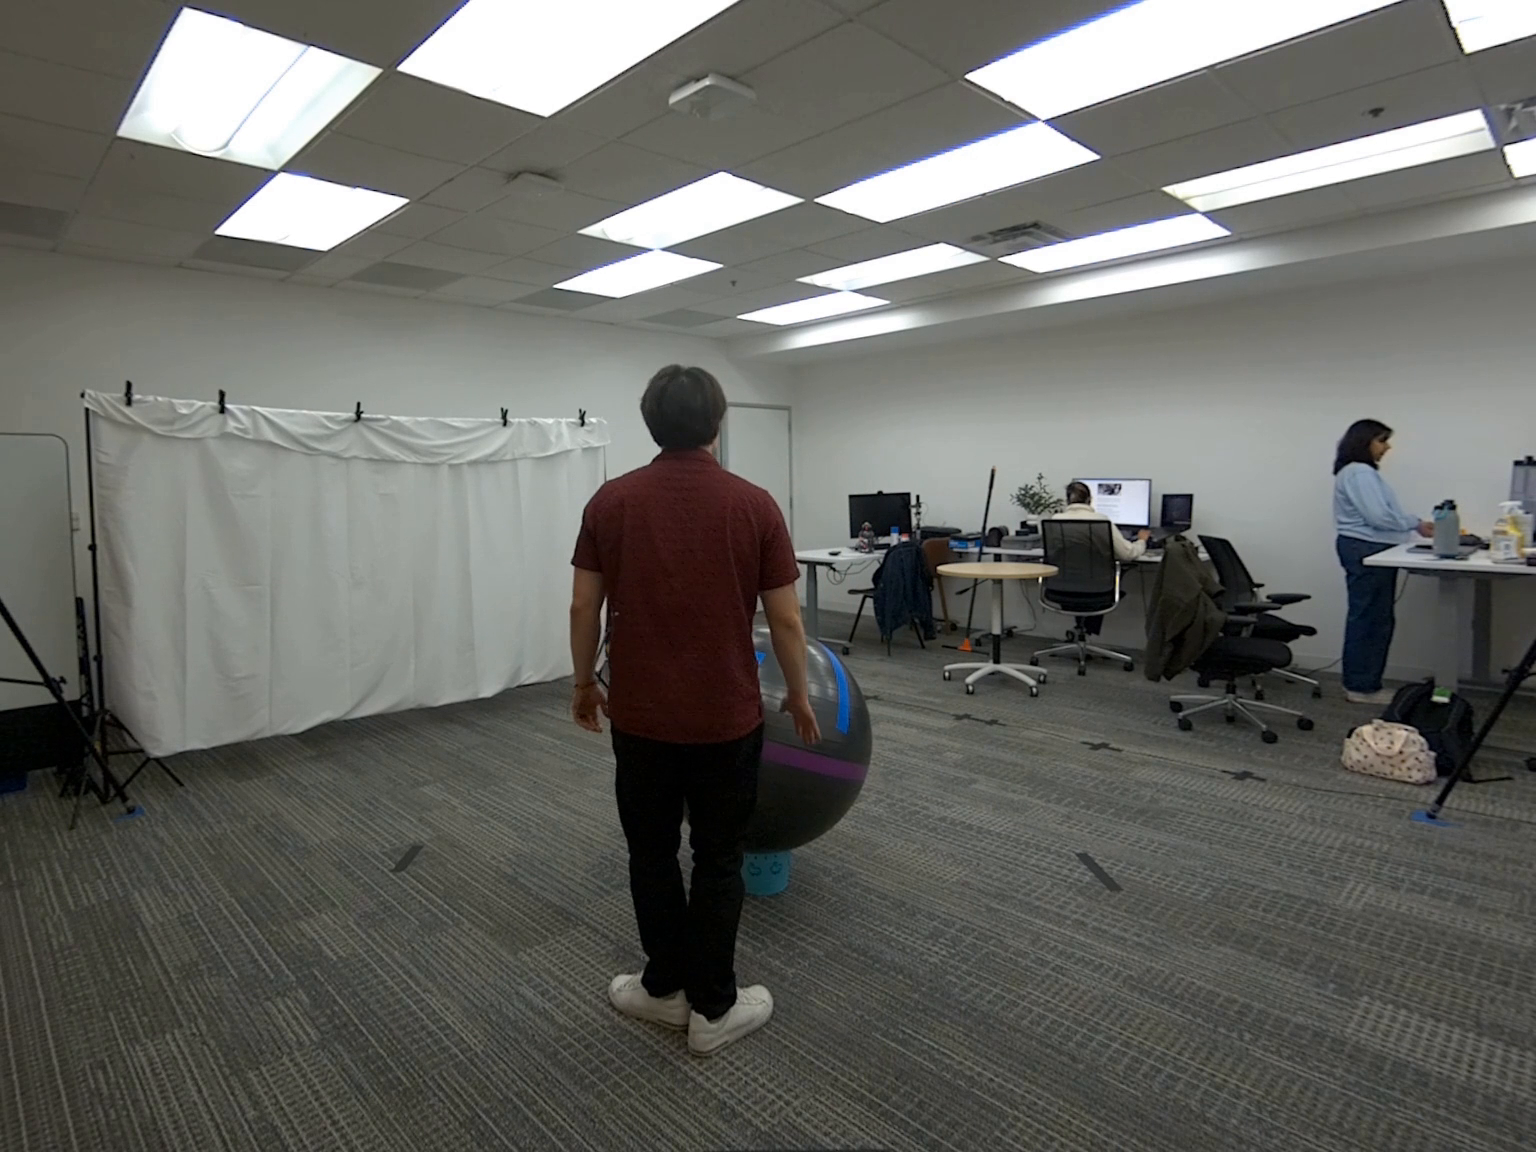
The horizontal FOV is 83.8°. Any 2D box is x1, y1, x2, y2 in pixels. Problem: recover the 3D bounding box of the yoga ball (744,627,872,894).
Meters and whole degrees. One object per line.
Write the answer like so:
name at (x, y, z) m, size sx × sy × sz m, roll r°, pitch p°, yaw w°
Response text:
yoga ball at (-0.019, 0.555, 2.951) m, size 0.757 × 0.755 × 0.762 m, roll -1°, pitch 5°, yaw -2°
